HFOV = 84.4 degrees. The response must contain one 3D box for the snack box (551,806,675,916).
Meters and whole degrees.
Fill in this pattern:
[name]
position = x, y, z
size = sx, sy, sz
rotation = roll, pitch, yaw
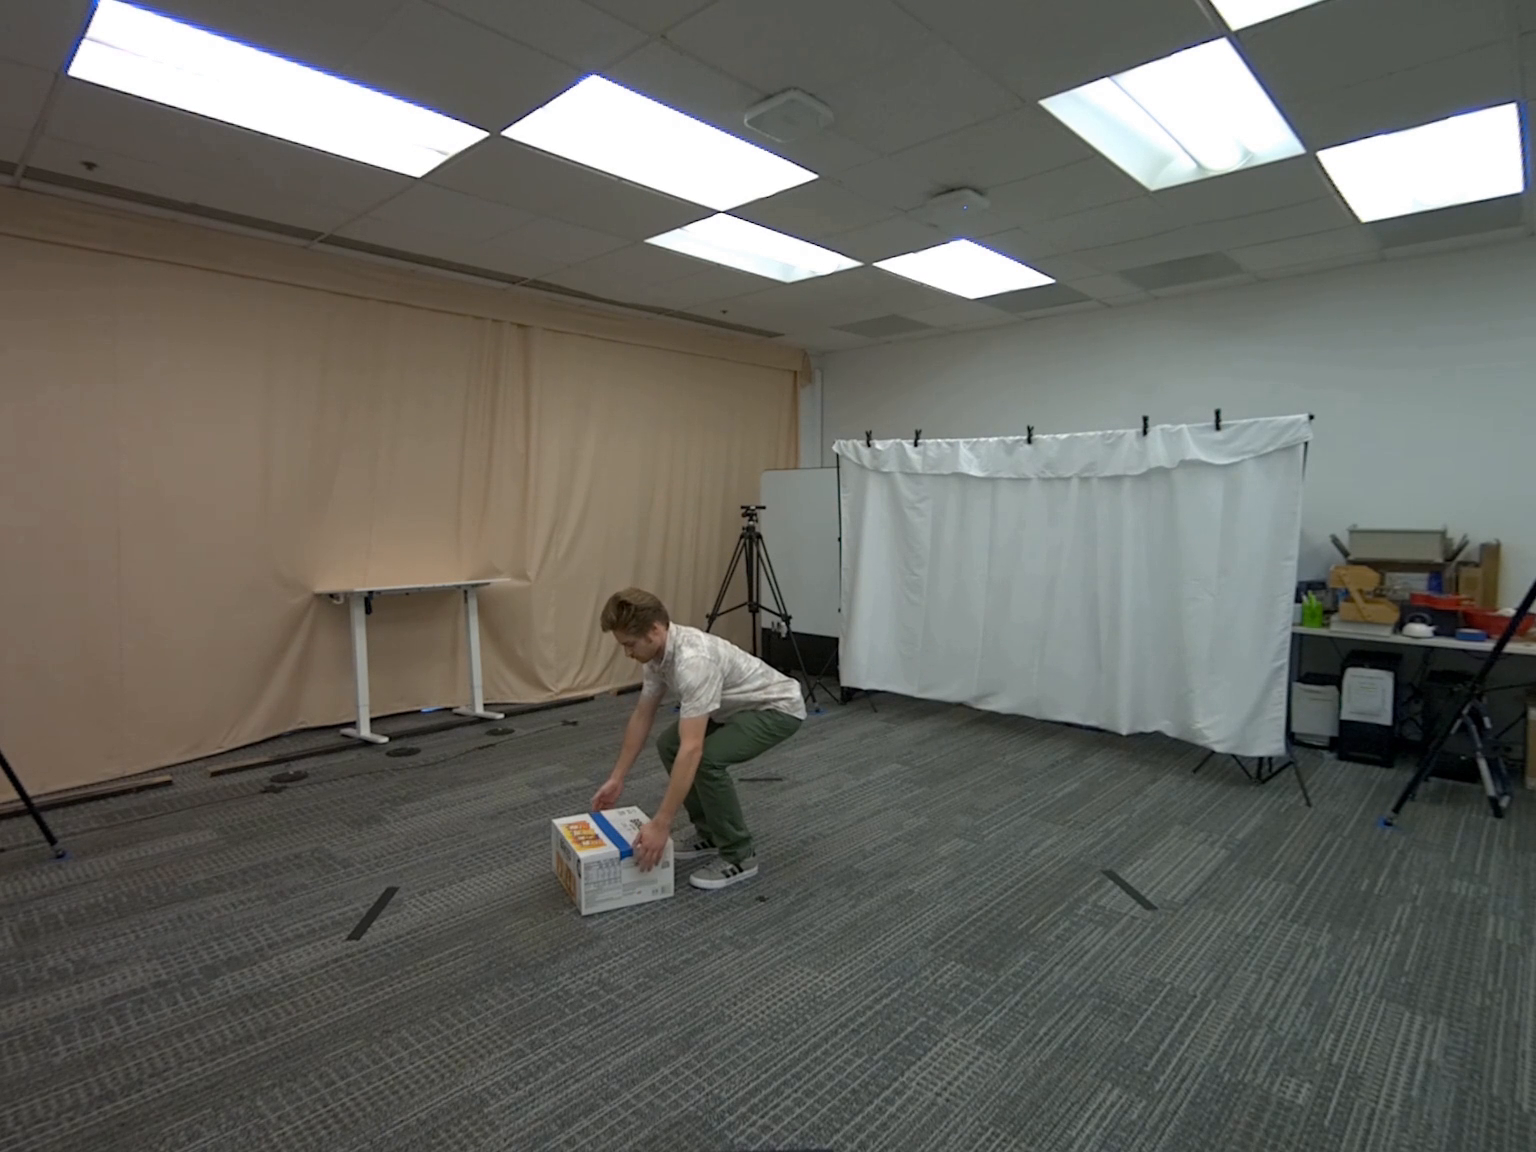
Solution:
[snack box]
position = -0.576, 1.035, 3.100
size = 0.332, 0.205, 0.416
rotation = -3, 4, -27
